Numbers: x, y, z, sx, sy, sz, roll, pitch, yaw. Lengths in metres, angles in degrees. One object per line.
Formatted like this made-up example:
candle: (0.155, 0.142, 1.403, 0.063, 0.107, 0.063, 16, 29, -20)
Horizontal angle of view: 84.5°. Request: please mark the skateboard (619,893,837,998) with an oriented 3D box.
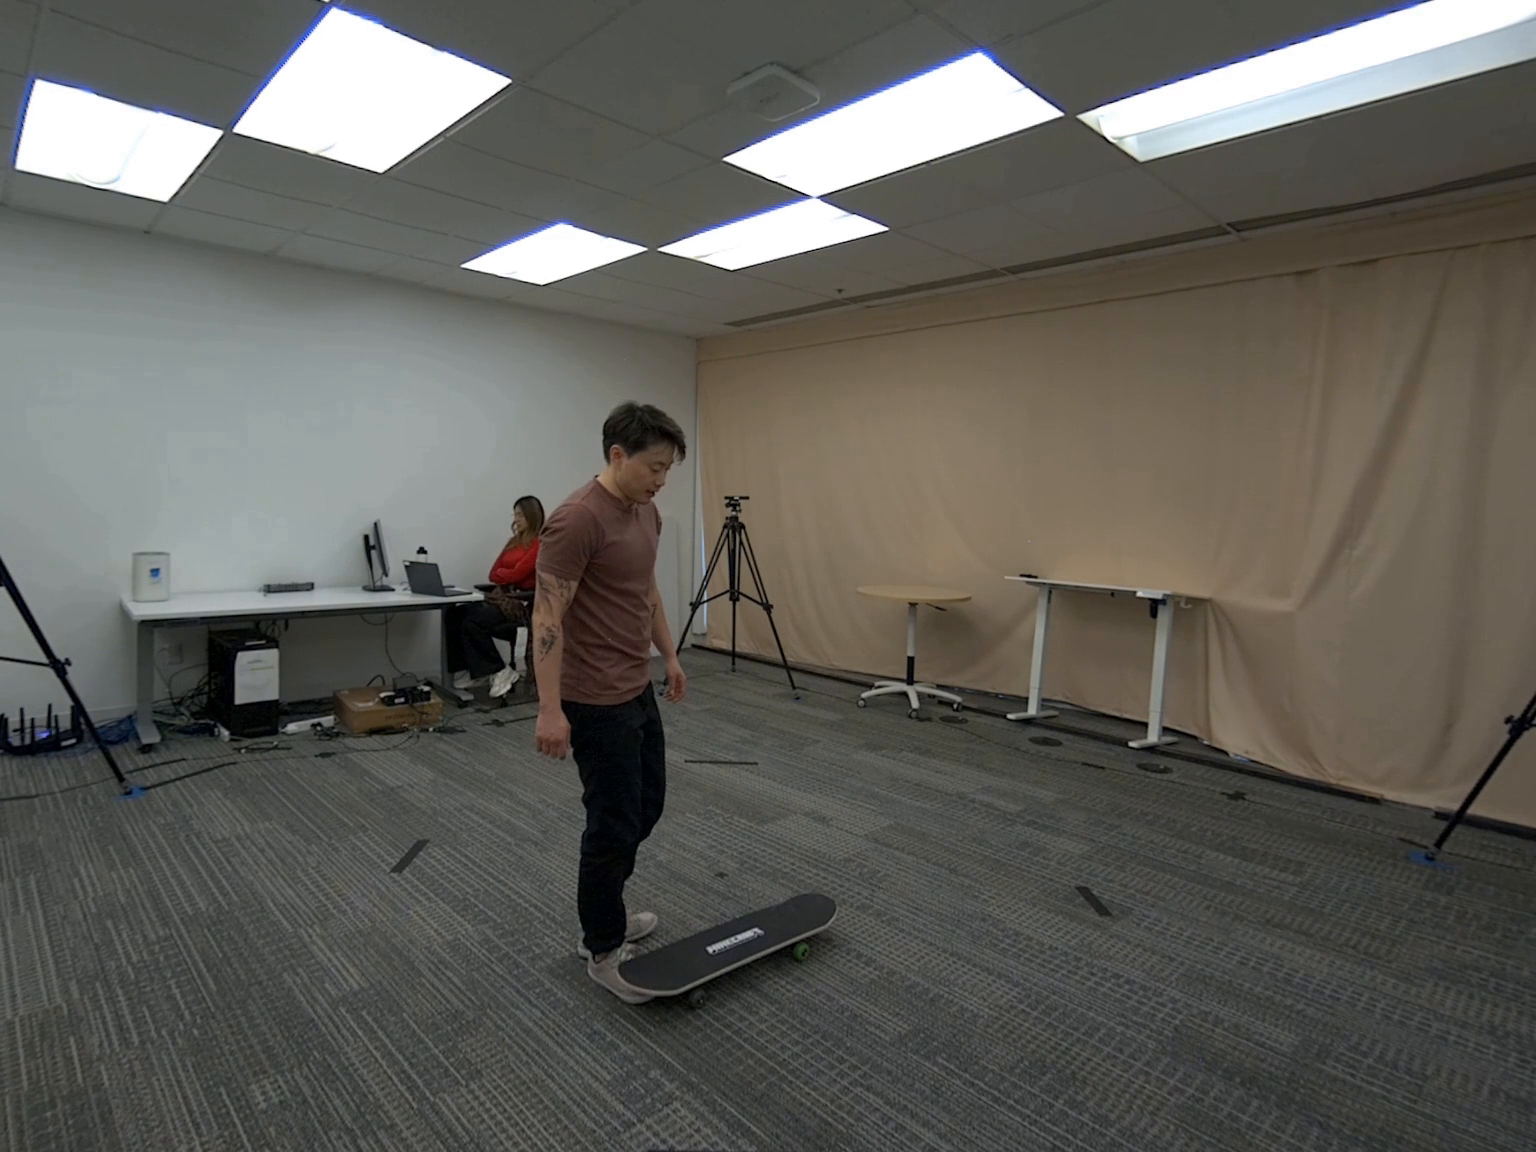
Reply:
skateboard: (-0.099, 1.106, 2.468, 0.768, 0.110, 0.198, -3, 7, -41)
